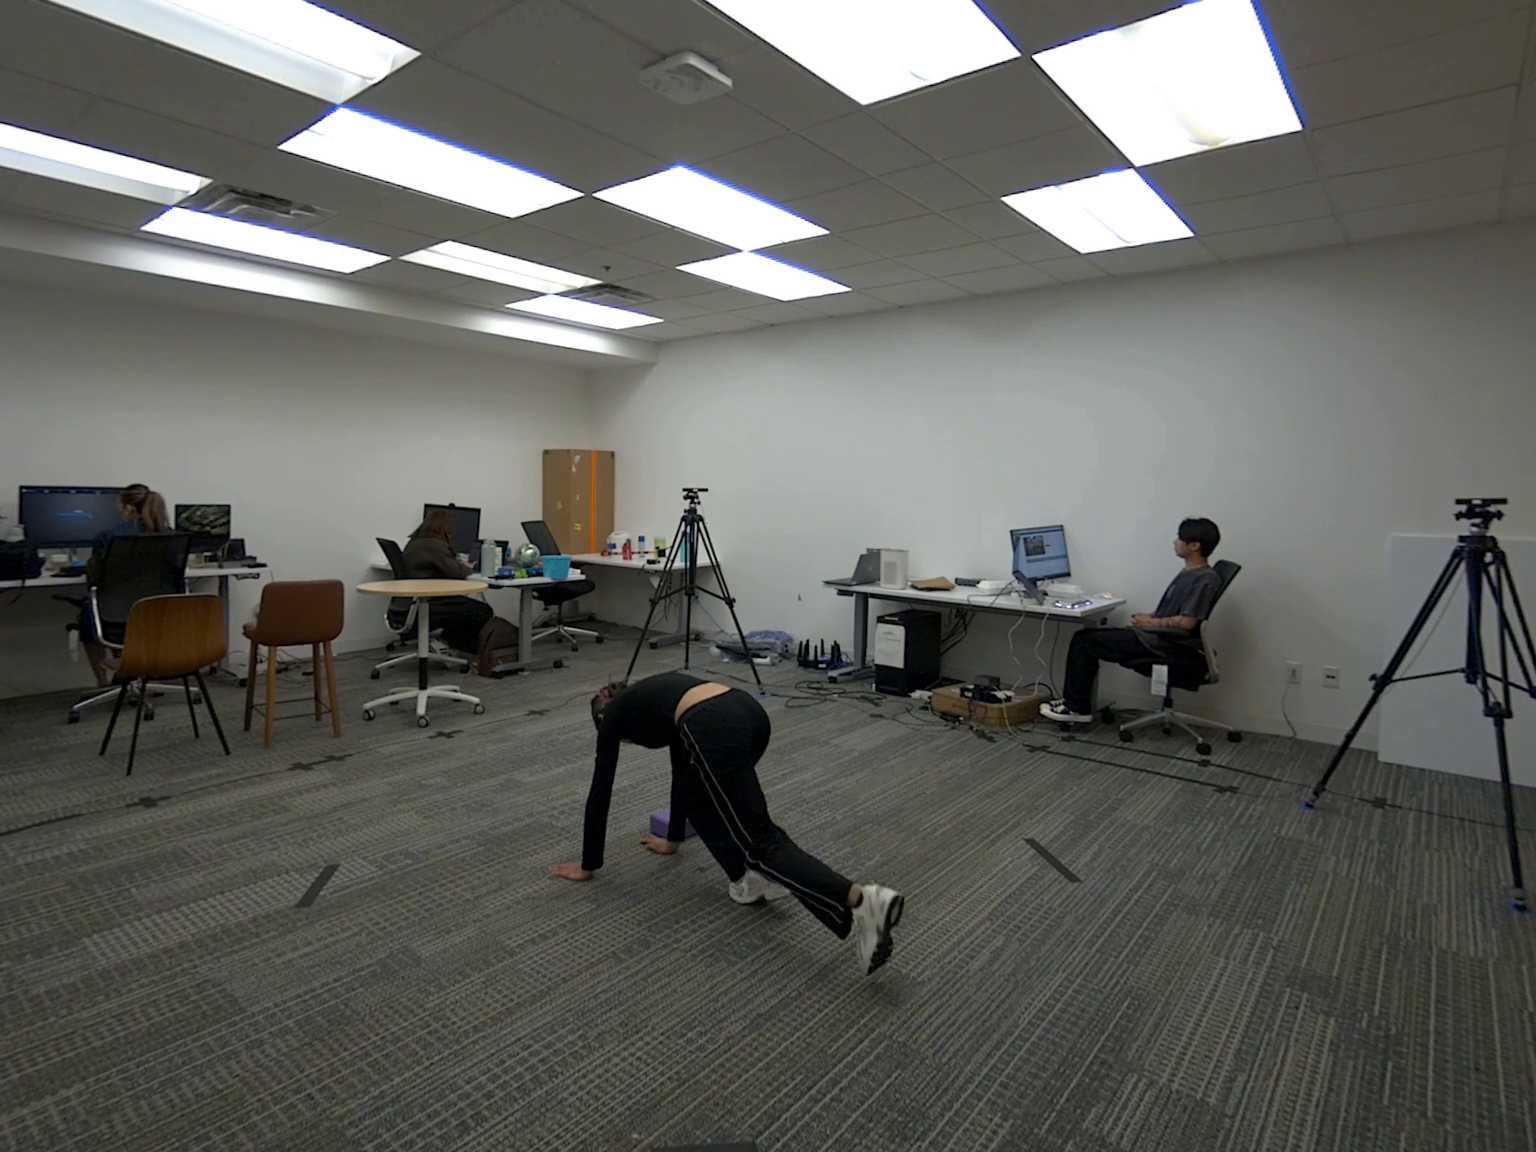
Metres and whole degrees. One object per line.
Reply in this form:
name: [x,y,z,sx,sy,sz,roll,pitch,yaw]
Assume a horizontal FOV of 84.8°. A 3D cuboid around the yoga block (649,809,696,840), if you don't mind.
yoga block: [-0.359,0.990,3.459,0.222,0.076,0.154,-4,6,-45]
